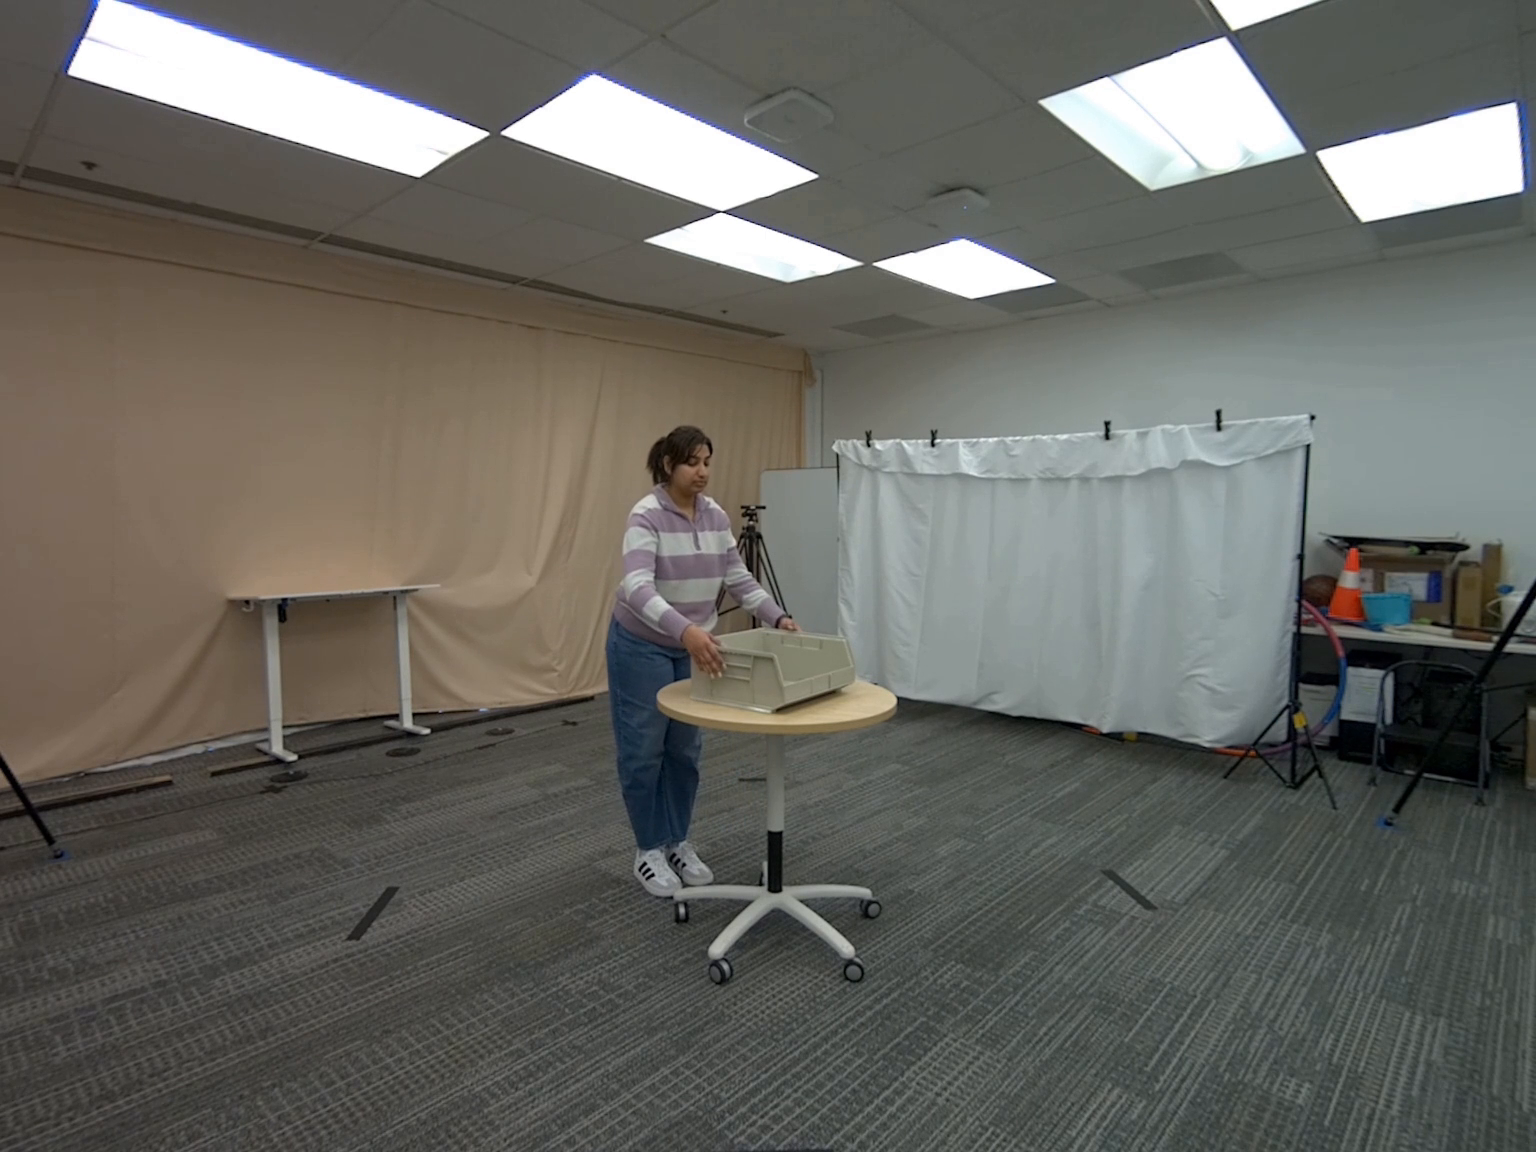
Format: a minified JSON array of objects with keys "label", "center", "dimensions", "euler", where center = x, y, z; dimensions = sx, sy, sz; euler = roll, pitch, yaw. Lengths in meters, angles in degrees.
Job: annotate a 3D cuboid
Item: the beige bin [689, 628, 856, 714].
[{"label":"beige bin","center":[0.016,0.294,2.689],"dimensions":[0.389,0.189,0.410],"euler":[1,4,37]}]
